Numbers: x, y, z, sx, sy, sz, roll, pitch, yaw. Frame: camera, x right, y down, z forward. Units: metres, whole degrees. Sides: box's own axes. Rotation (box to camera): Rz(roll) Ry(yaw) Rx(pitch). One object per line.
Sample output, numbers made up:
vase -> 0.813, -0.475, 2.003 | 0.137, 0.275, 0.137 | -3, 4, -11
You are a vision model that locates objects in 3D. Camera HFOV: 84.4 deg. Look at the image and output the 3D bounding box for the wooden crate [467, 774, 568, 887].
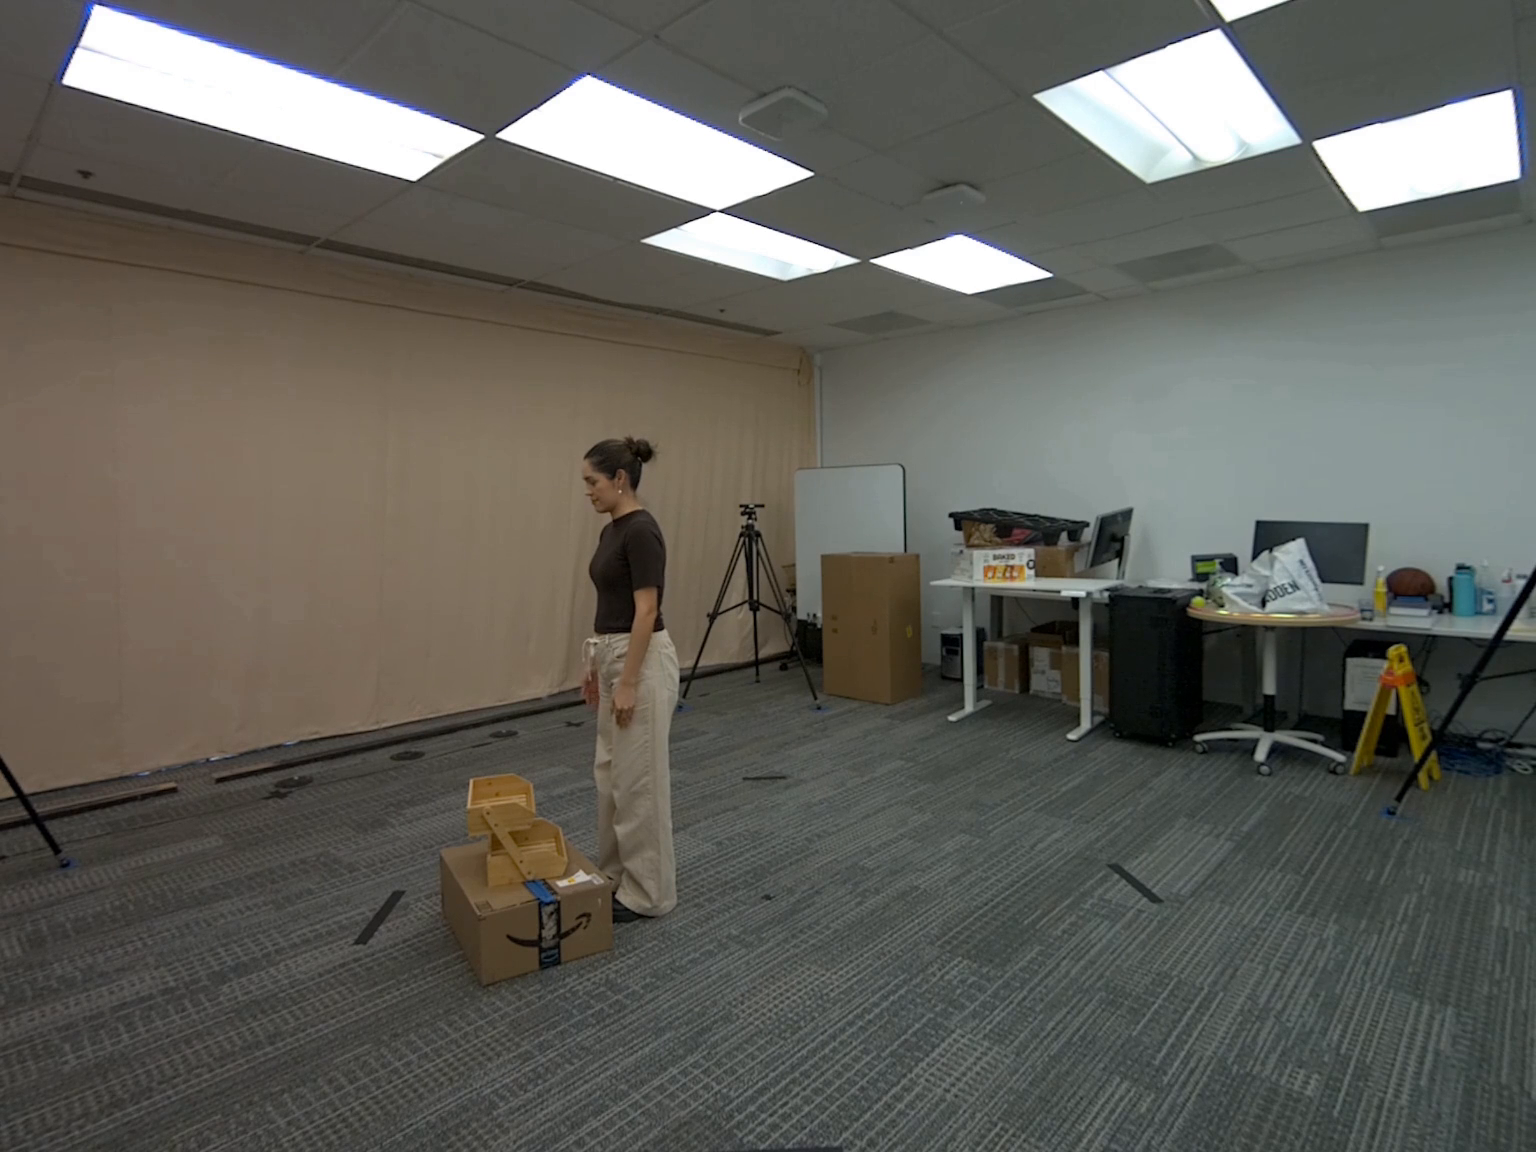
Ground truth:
wooden crate -> -0.825, 0.826, 2.803 | 0.297, 0.273, 0.330 | -3, 4, -16
